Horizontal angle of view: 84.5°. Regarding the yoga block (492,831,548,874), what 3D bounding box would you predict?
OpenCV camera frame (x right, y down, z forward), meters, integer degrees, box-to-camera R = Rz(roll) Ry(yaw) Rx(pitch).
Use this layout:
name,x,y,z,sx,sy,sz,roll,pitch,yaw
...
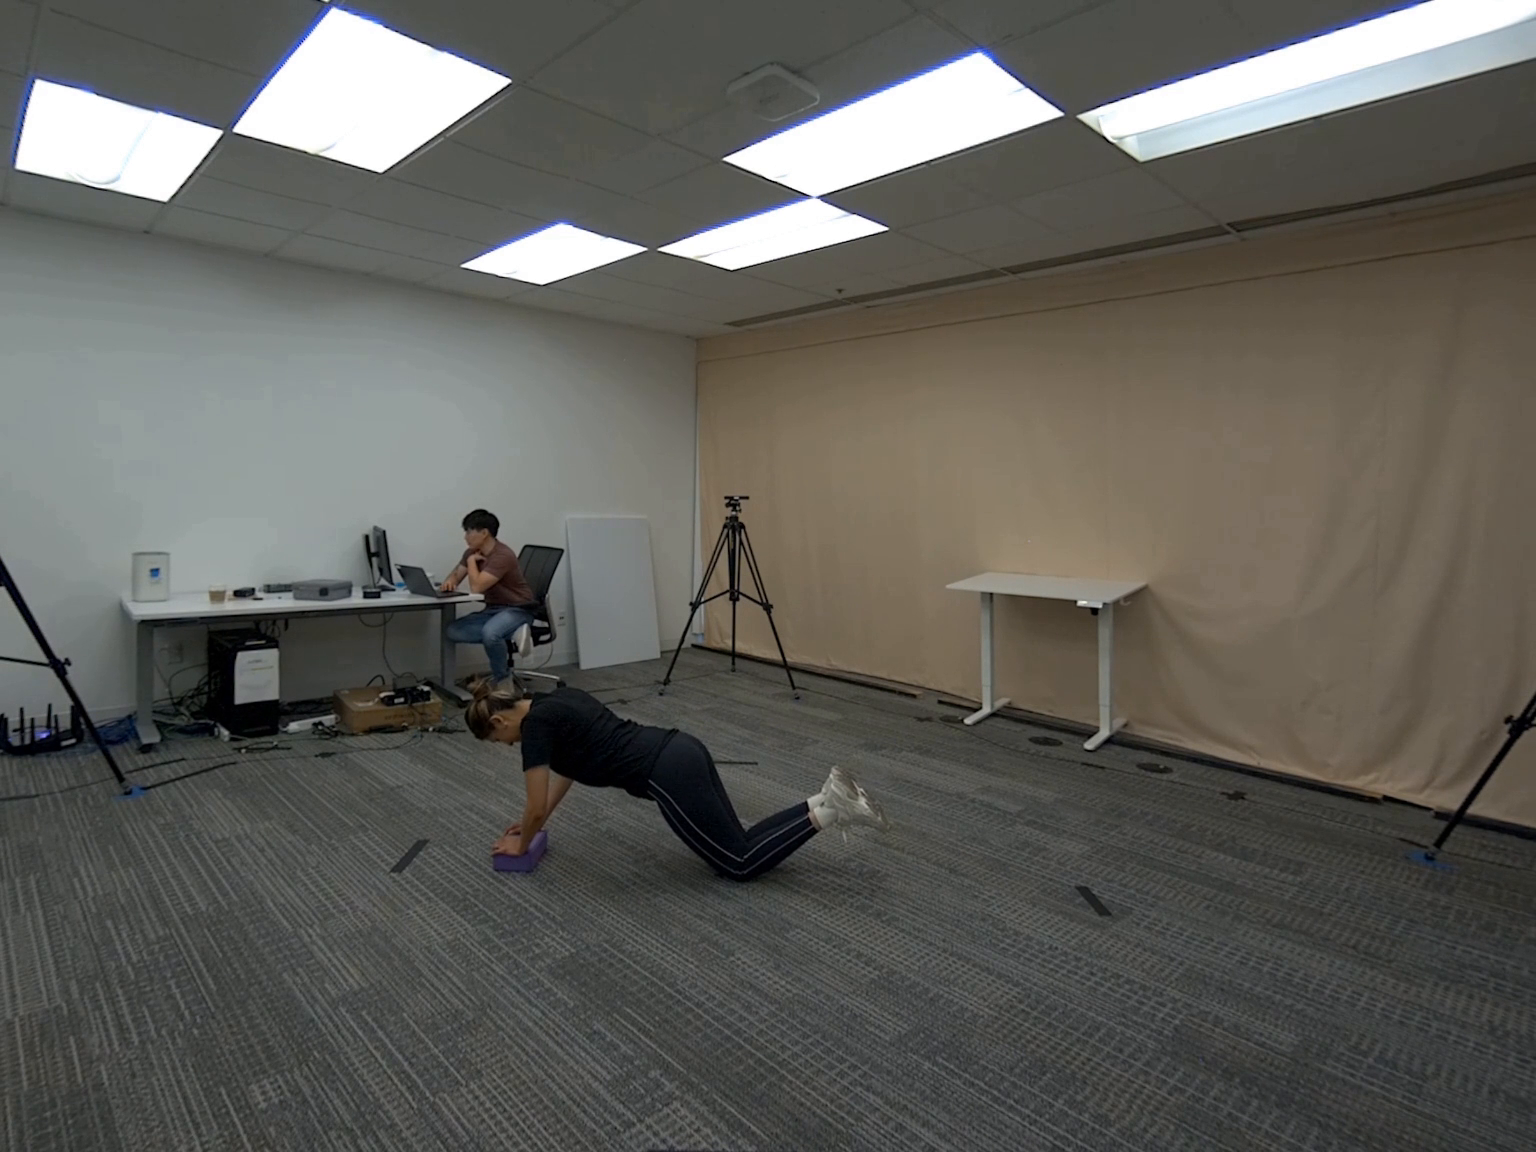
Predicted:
name,x,y,z,sx,sy,sz,roll,pitch,yaw
yoga block,-0.936,1.028,3.200,0.149,0.076,0.230,-3,5,1
